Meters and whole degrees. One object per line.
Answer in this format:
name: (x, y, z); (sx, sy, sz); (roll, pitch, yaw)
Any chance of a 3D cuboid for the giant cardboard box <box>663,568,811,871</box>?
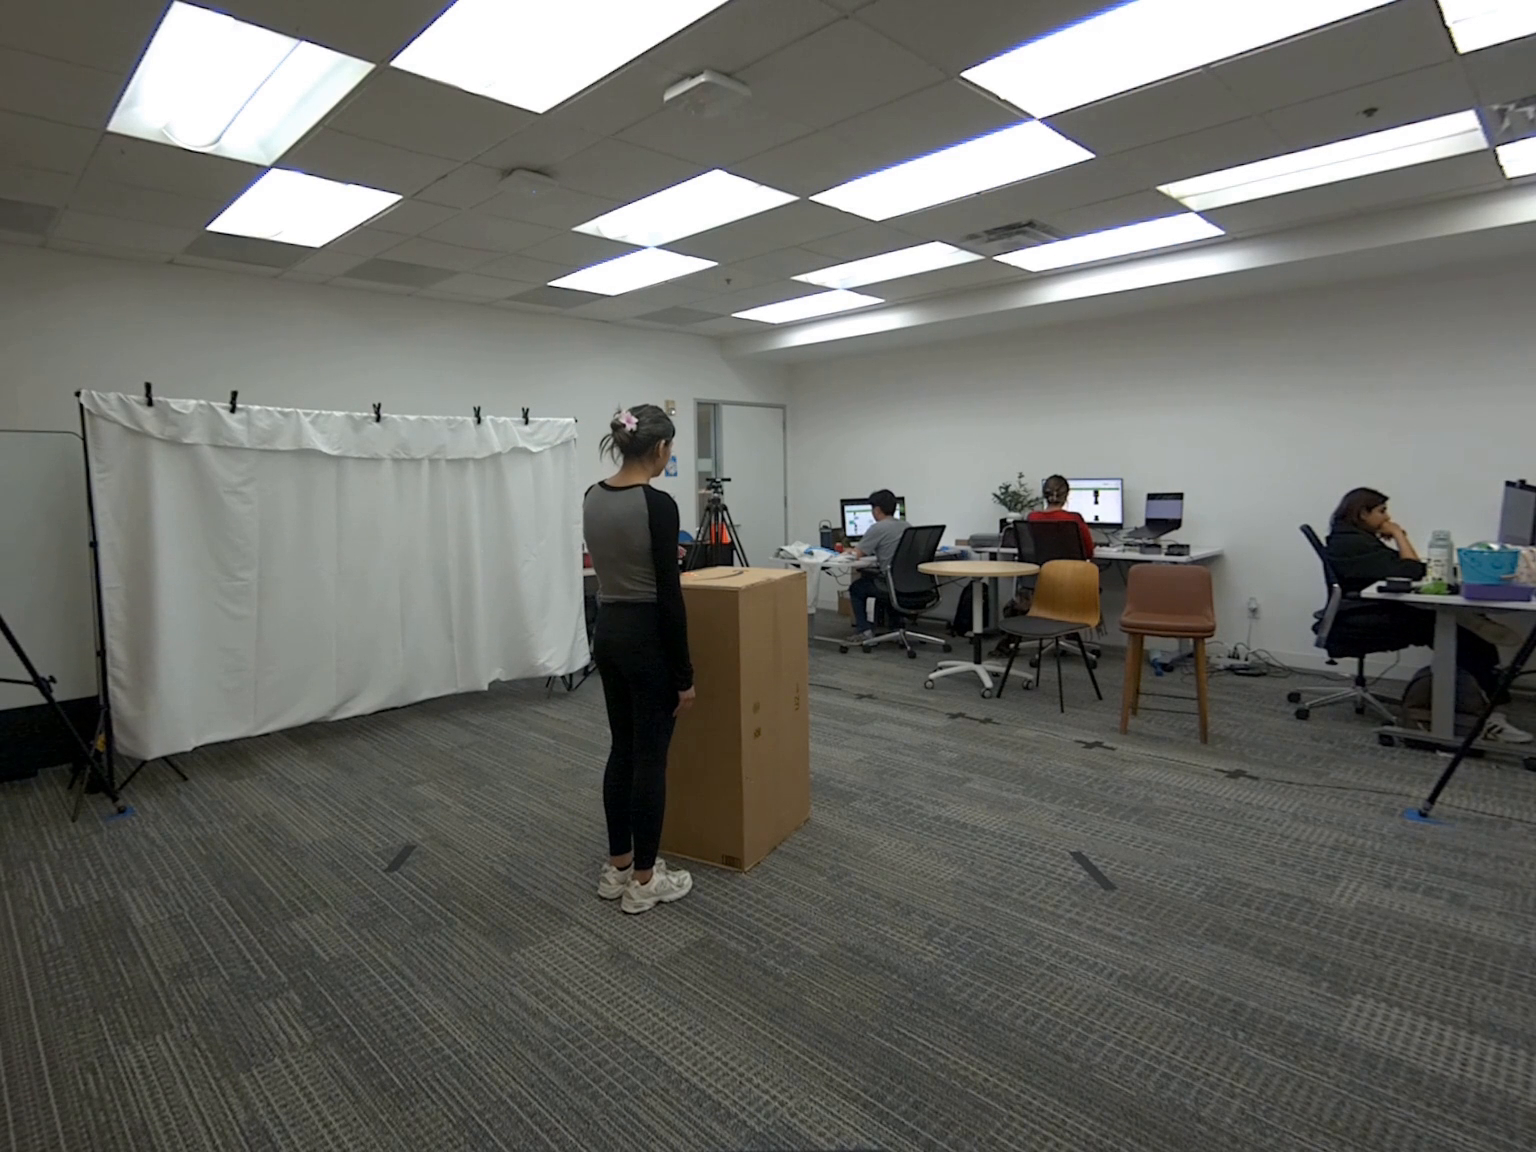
giant cardboard box: (-0.149, 0.511, 3.340); (0.458, 1.023, 0.572); (2, 5, 27)
